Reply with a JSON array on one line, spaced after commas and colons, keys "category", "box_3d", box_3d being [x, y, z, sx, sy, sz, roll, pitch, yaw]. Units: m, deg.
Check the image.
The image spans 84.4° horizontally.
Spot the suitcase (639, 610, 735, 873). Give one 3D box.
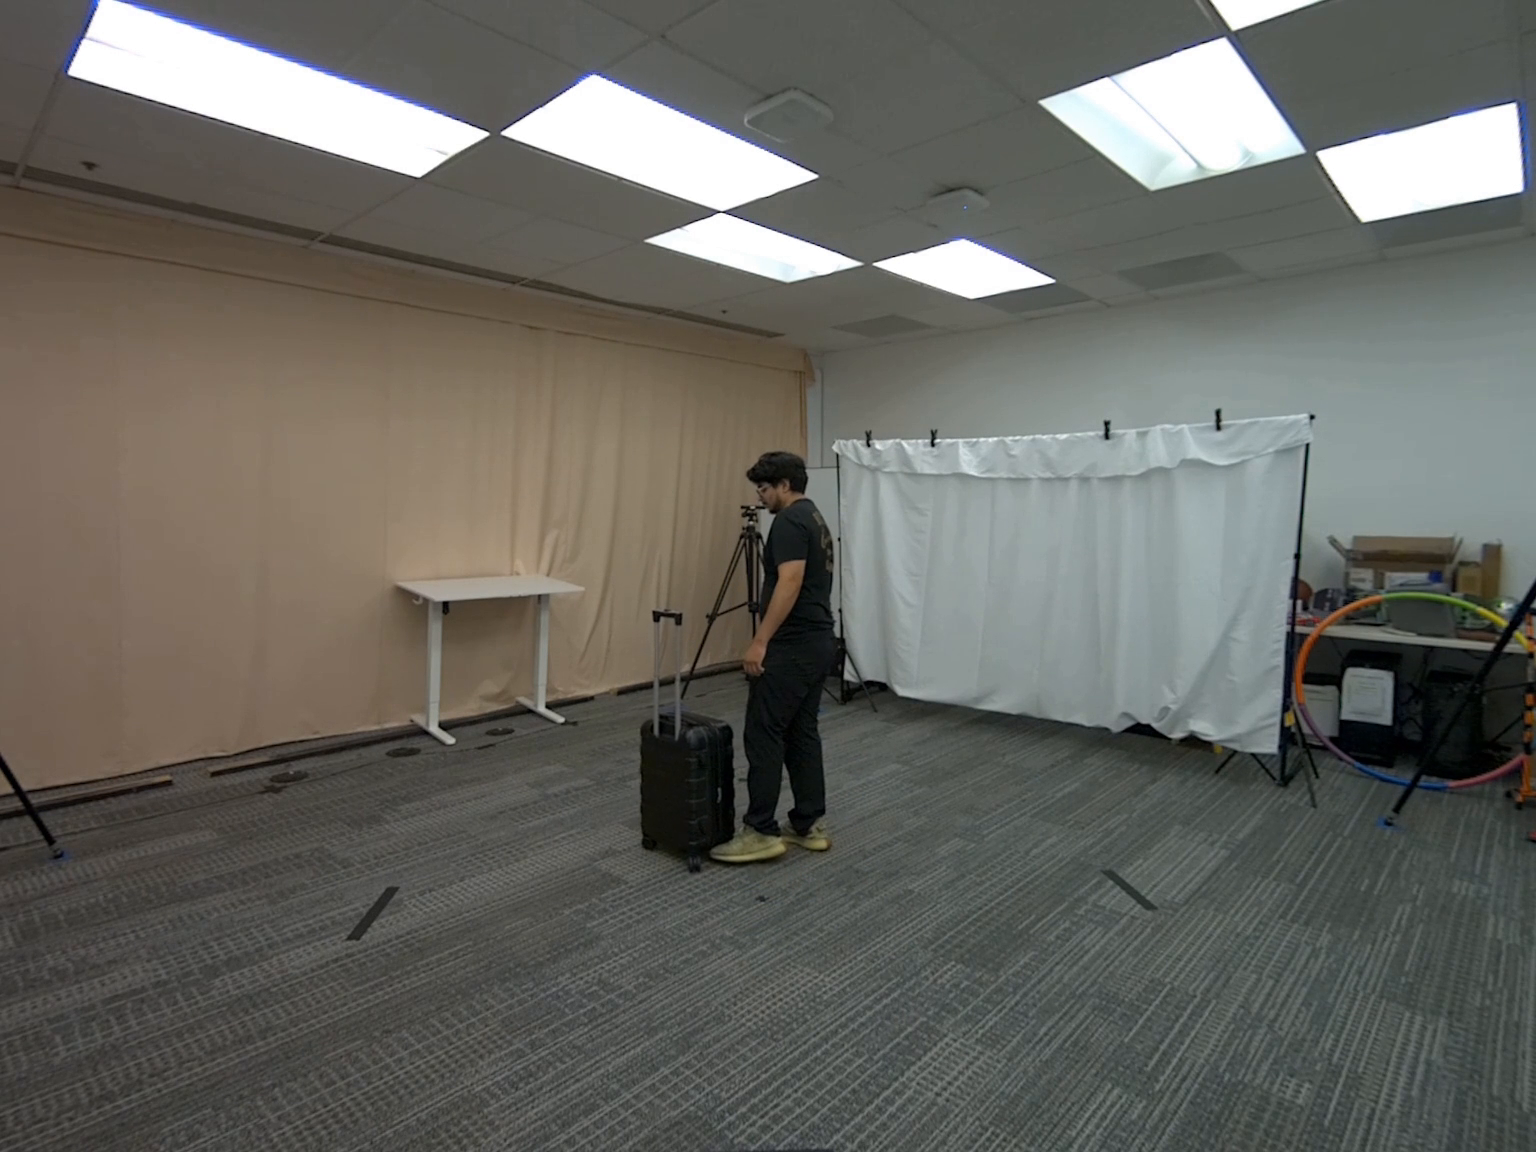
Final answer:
[{"category": "suitcase", "box_3d": [-0.331, 0.632, 3.401, 0.396, 0.978, 0.249, 1, 1, 42]}]
